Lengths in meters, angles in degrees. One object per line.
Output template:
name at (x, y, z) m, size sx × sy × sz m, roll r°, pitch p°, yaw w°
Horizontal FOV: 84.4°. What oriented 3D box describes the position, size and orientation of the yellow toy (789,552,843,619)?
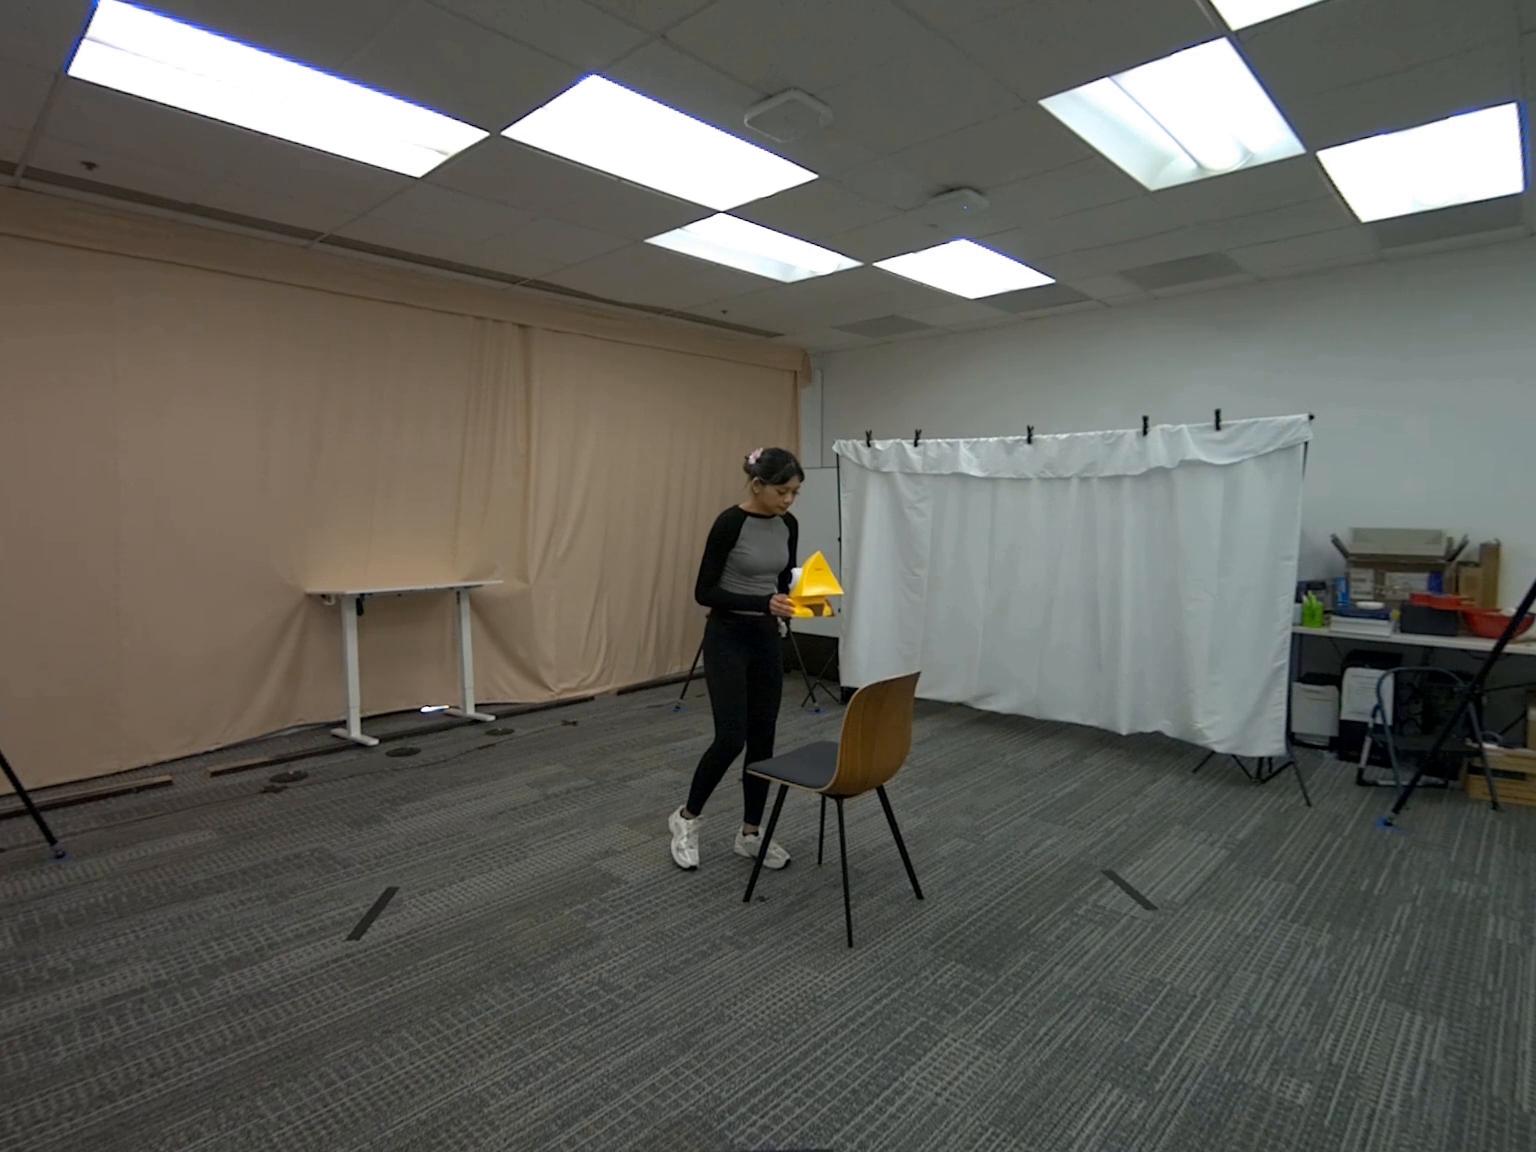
yellow toy at (0.134, 0.024, 3.028) m, size 0.198 × 0.230 × 0.199 m, roll -2°, pitch 5°, yaw -39°
